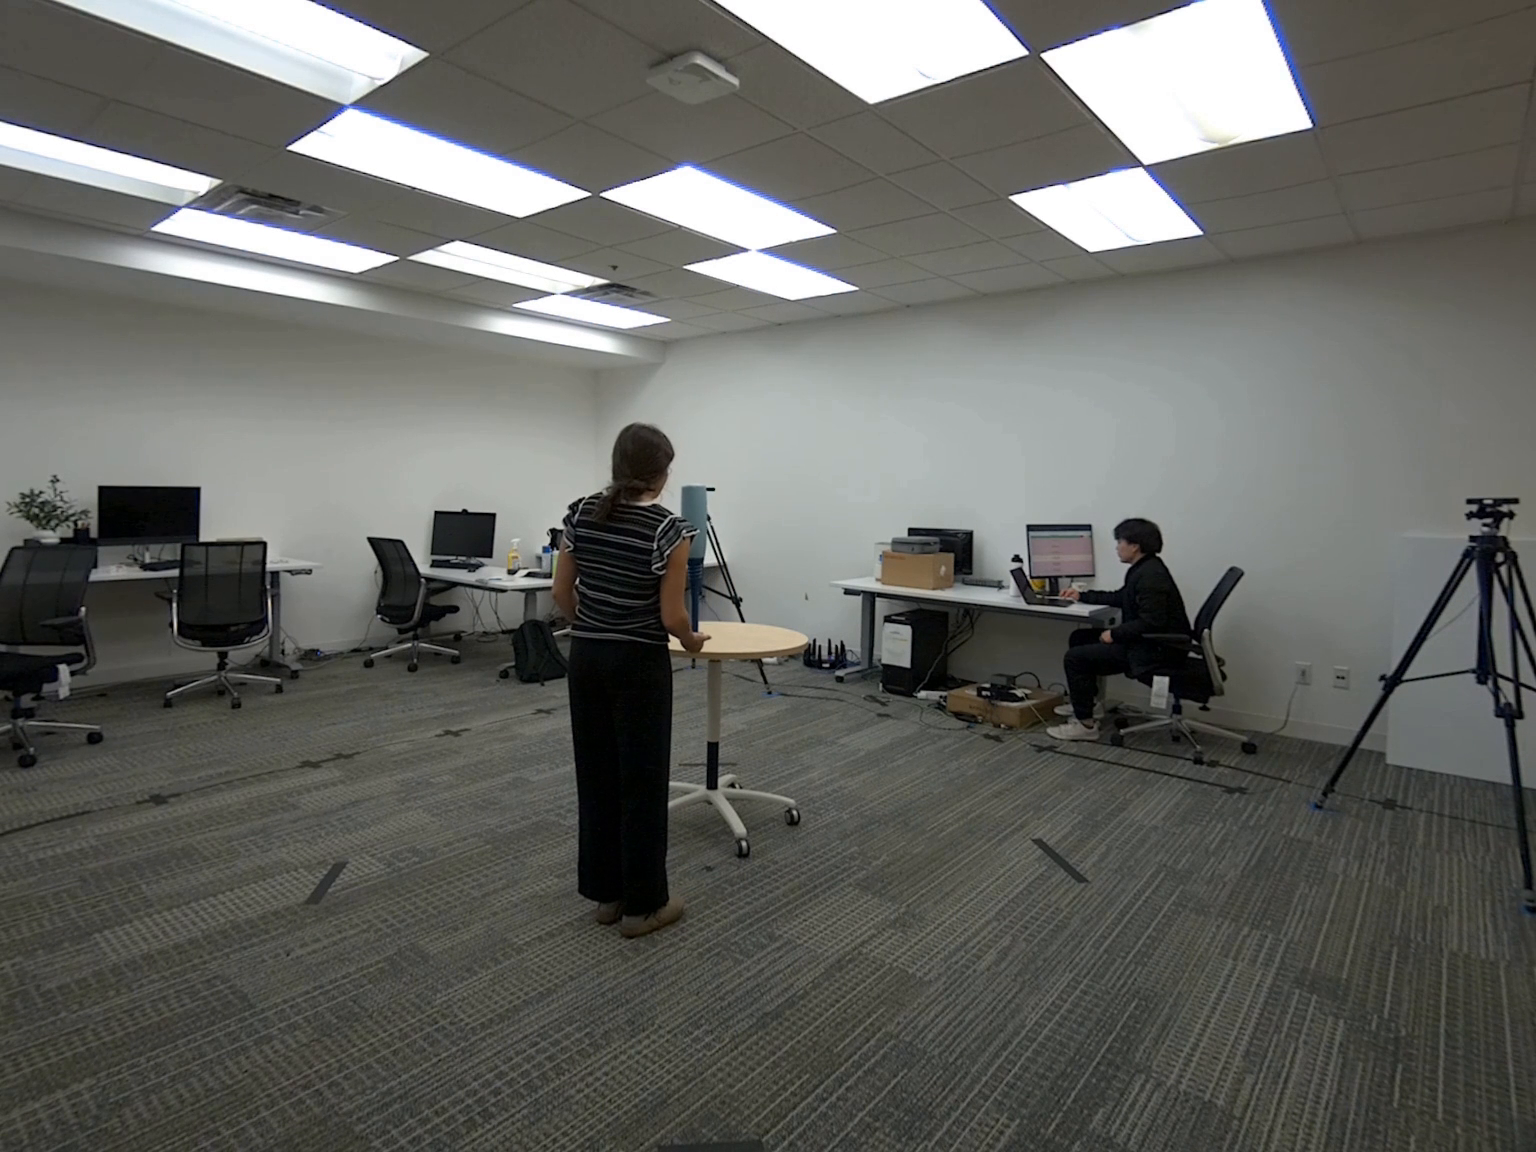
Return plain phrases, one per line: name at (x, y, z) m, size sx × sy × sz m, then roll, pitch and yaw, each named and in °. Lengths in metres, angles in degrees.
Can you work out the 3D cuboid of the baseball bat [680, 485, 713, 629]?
baseball bat at (-0.266, -0.043, 2.892) m, size 0.089 × 0.542 × 0.089 m, roll 0°, pitch 1°, yaw -2°
